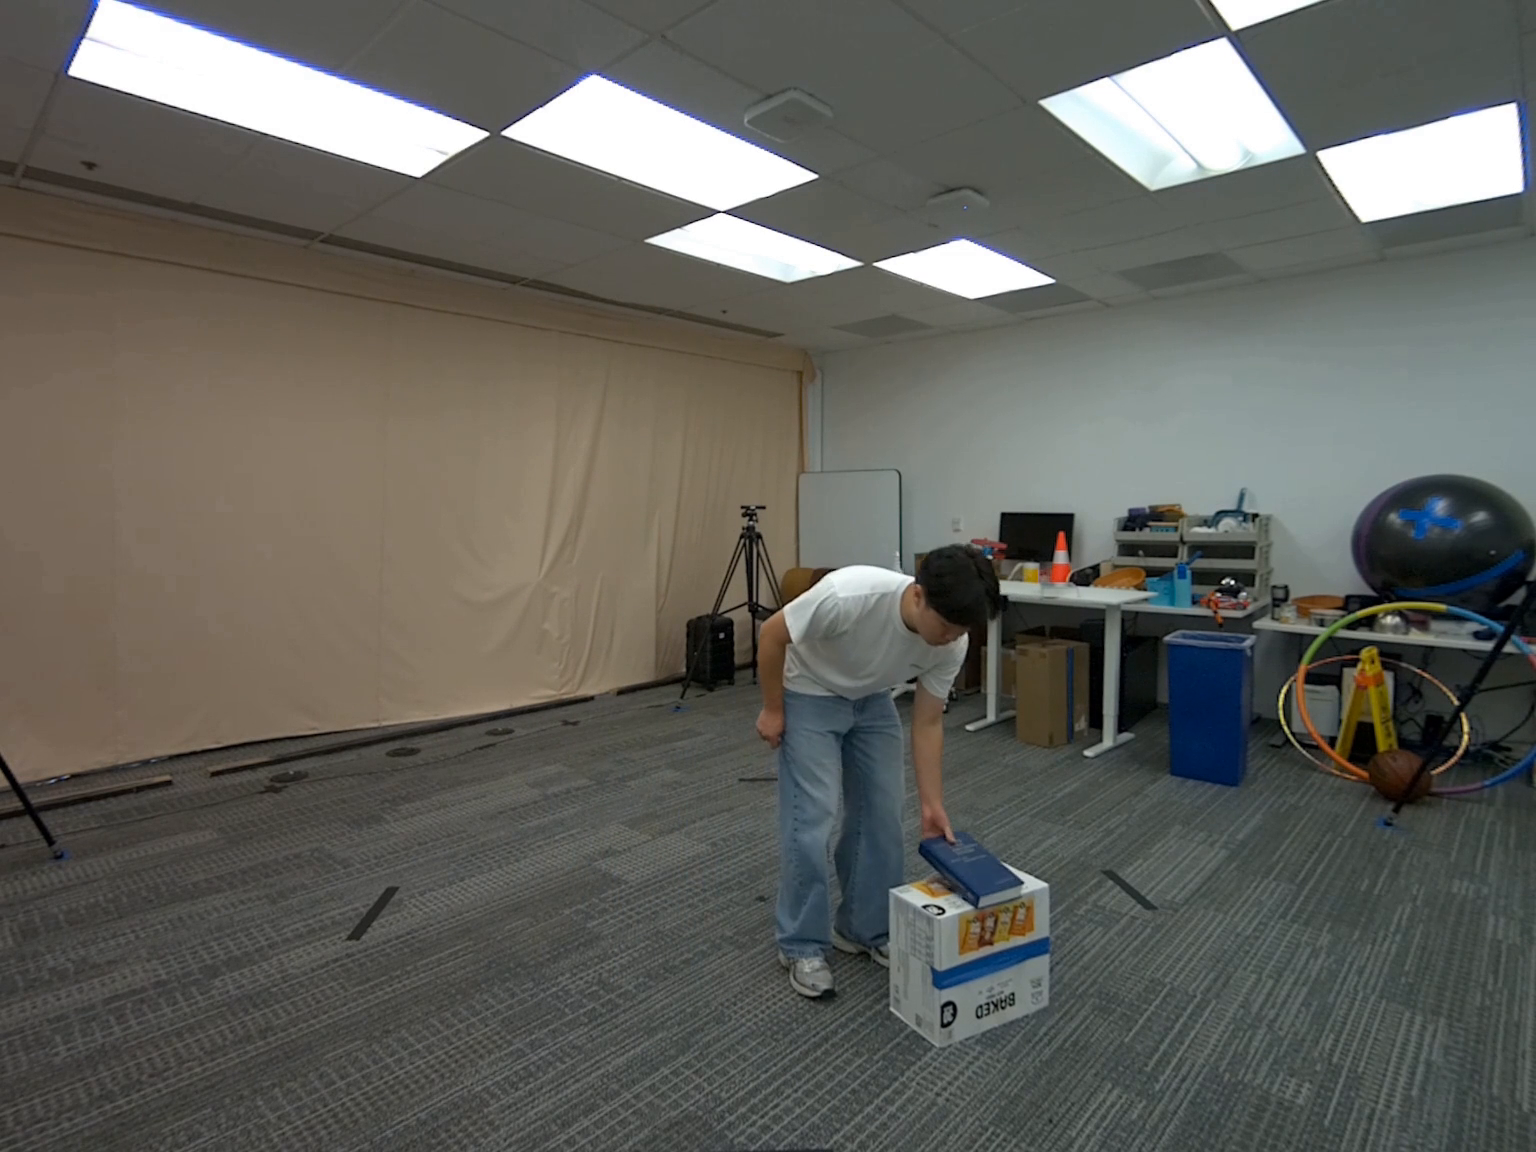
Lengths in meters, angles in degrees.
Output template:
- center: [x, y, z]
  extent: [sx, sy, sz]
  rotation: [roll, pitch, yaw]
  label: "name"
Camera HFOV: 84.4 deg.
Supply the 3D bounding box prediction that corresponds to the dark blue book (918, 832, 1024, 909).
- center: [0.577, 0.802, 2.321]
  extent: [0.160, 0.045, 0.253]
  rotation: [-5, 18, -23]
  label: "dark blue book"
